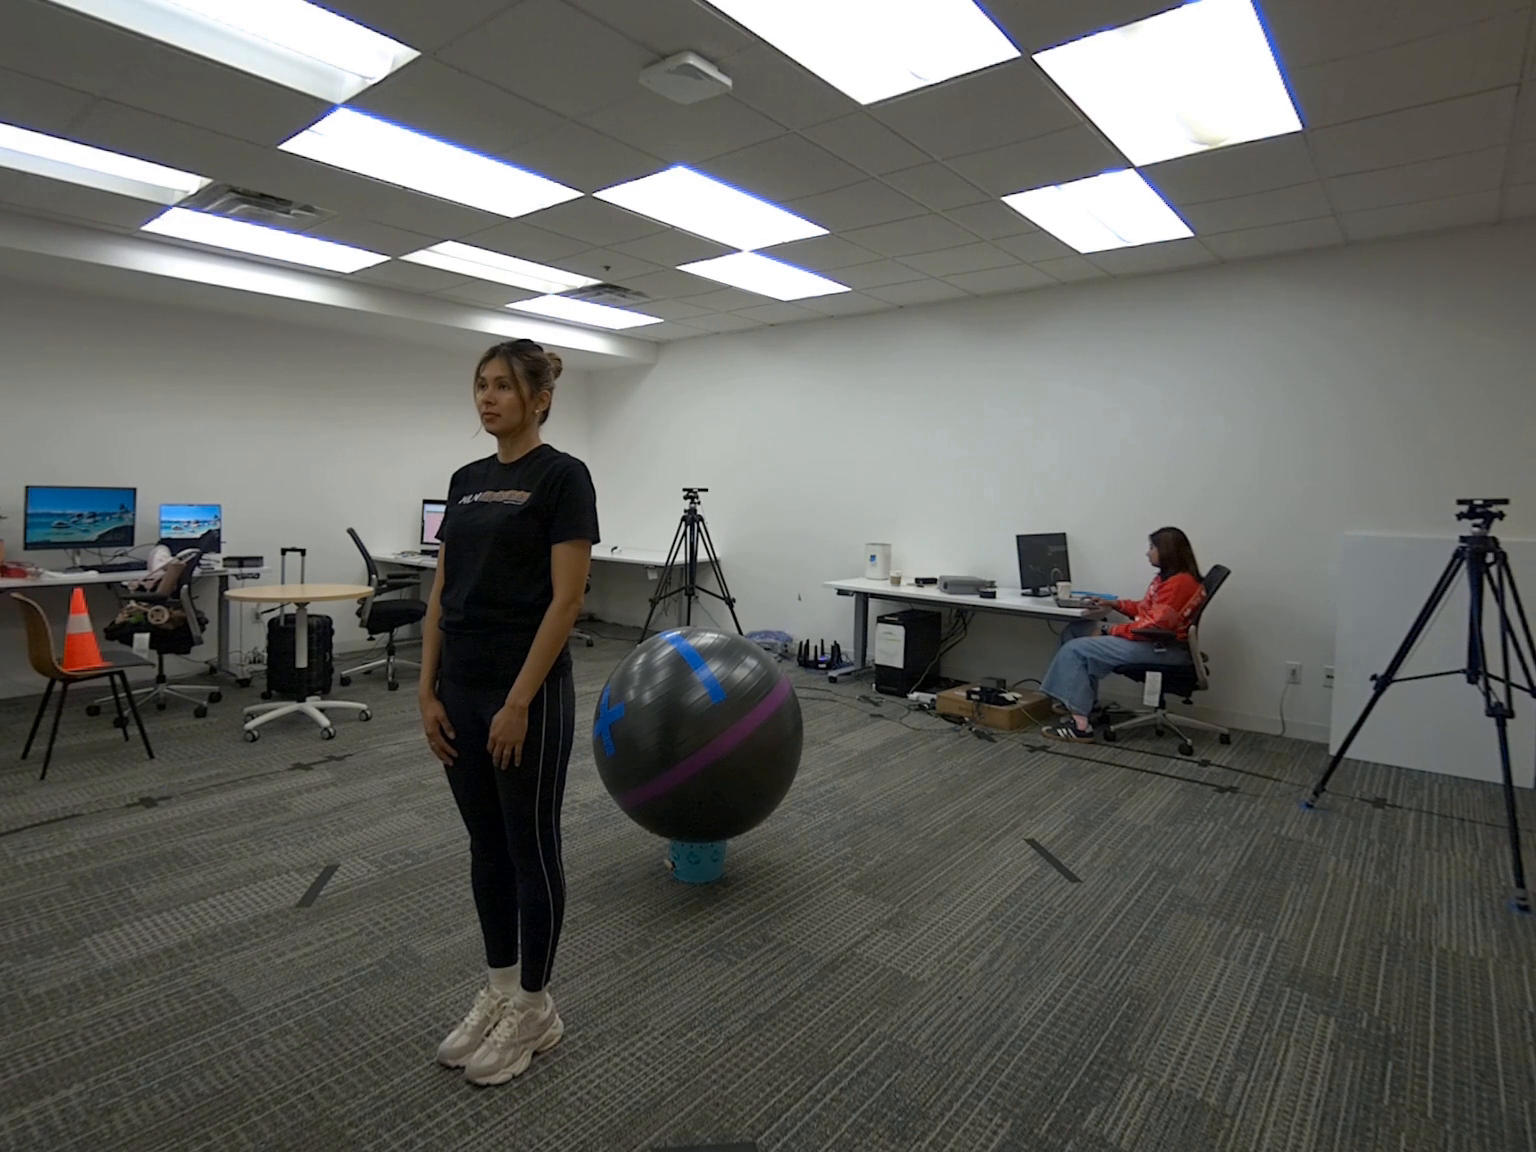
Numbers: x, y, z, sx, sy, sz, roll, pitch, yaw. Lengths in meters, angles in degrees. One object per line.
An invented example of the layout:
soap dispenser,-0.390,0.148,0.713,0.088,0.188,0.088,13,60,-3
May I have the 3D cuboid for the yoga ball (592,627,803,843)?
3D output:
yoga ball,-0.263,0.564,3.068,0.757,0.755,0.762,1,4,-2
